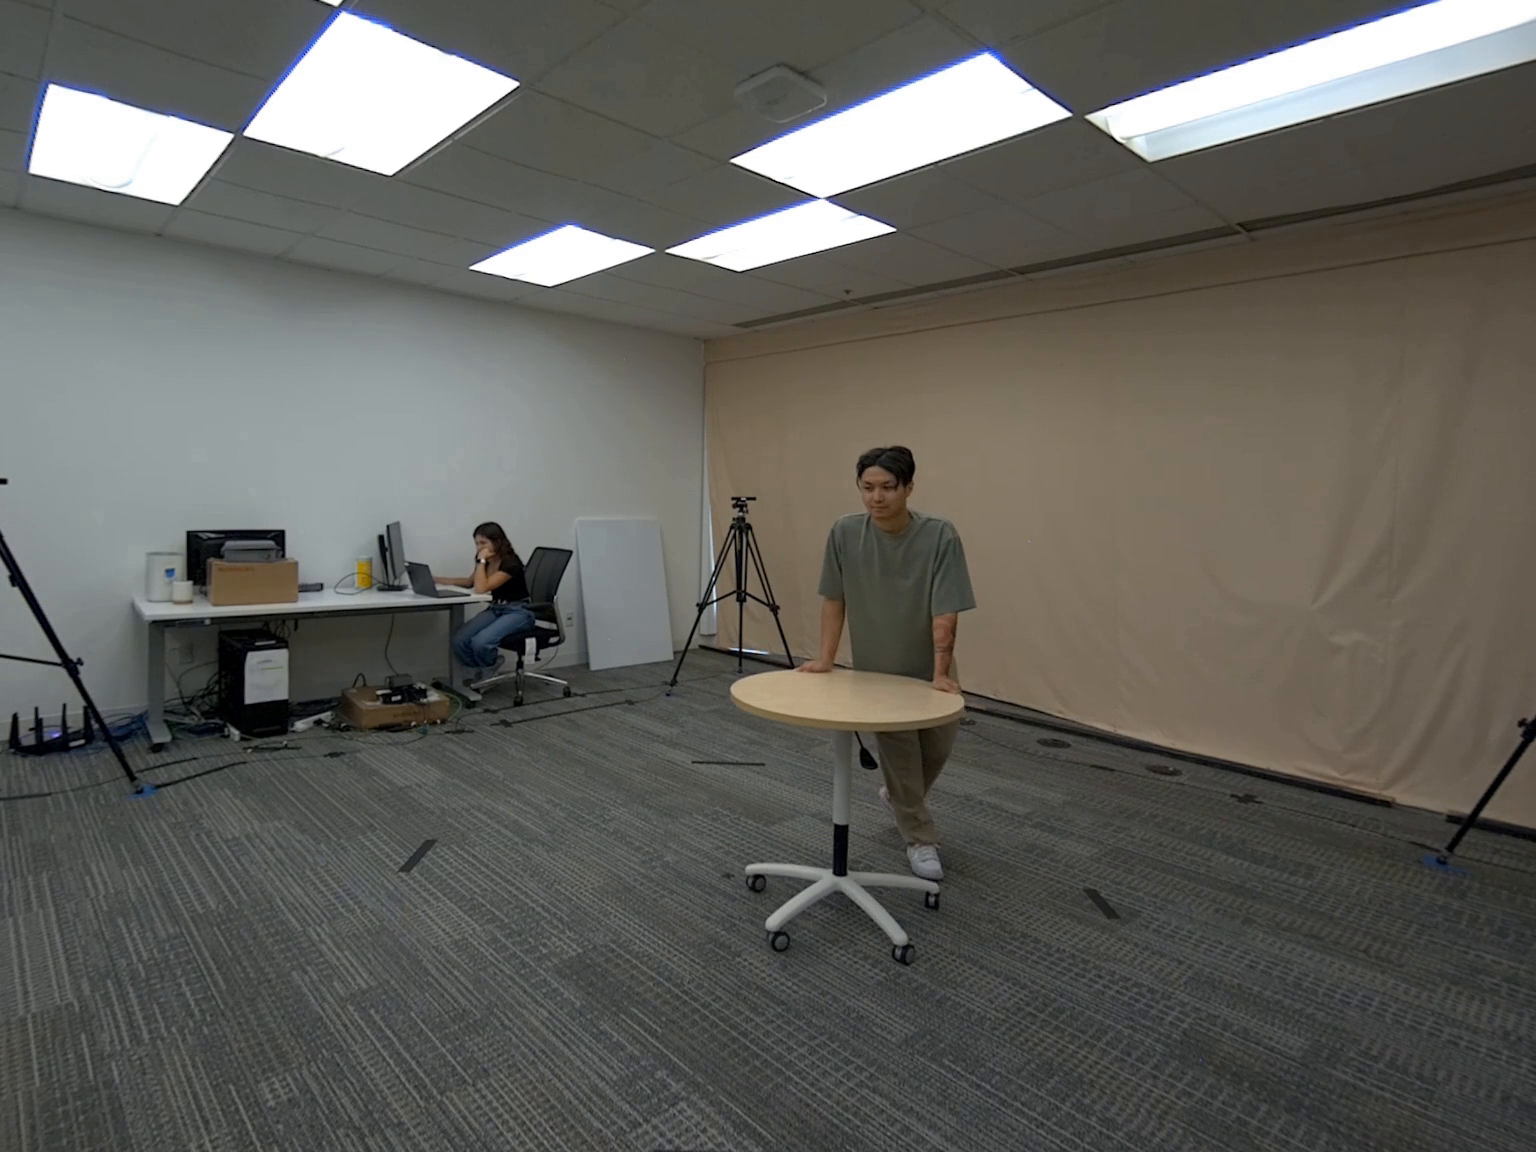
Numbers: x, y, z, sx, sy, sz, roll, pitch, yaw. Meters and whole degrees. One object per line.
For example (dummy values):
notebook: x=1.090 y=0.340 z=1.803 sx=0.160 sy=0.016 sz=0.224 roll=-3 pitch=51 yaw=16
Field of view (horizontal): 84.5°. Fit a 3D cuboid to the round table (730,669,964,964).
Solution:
round table: x=0.231 y=0.762 z=2.831 sx=0.784 sy=0.784 sz=0.788 roll=2 pitch=4 yaw=-1
